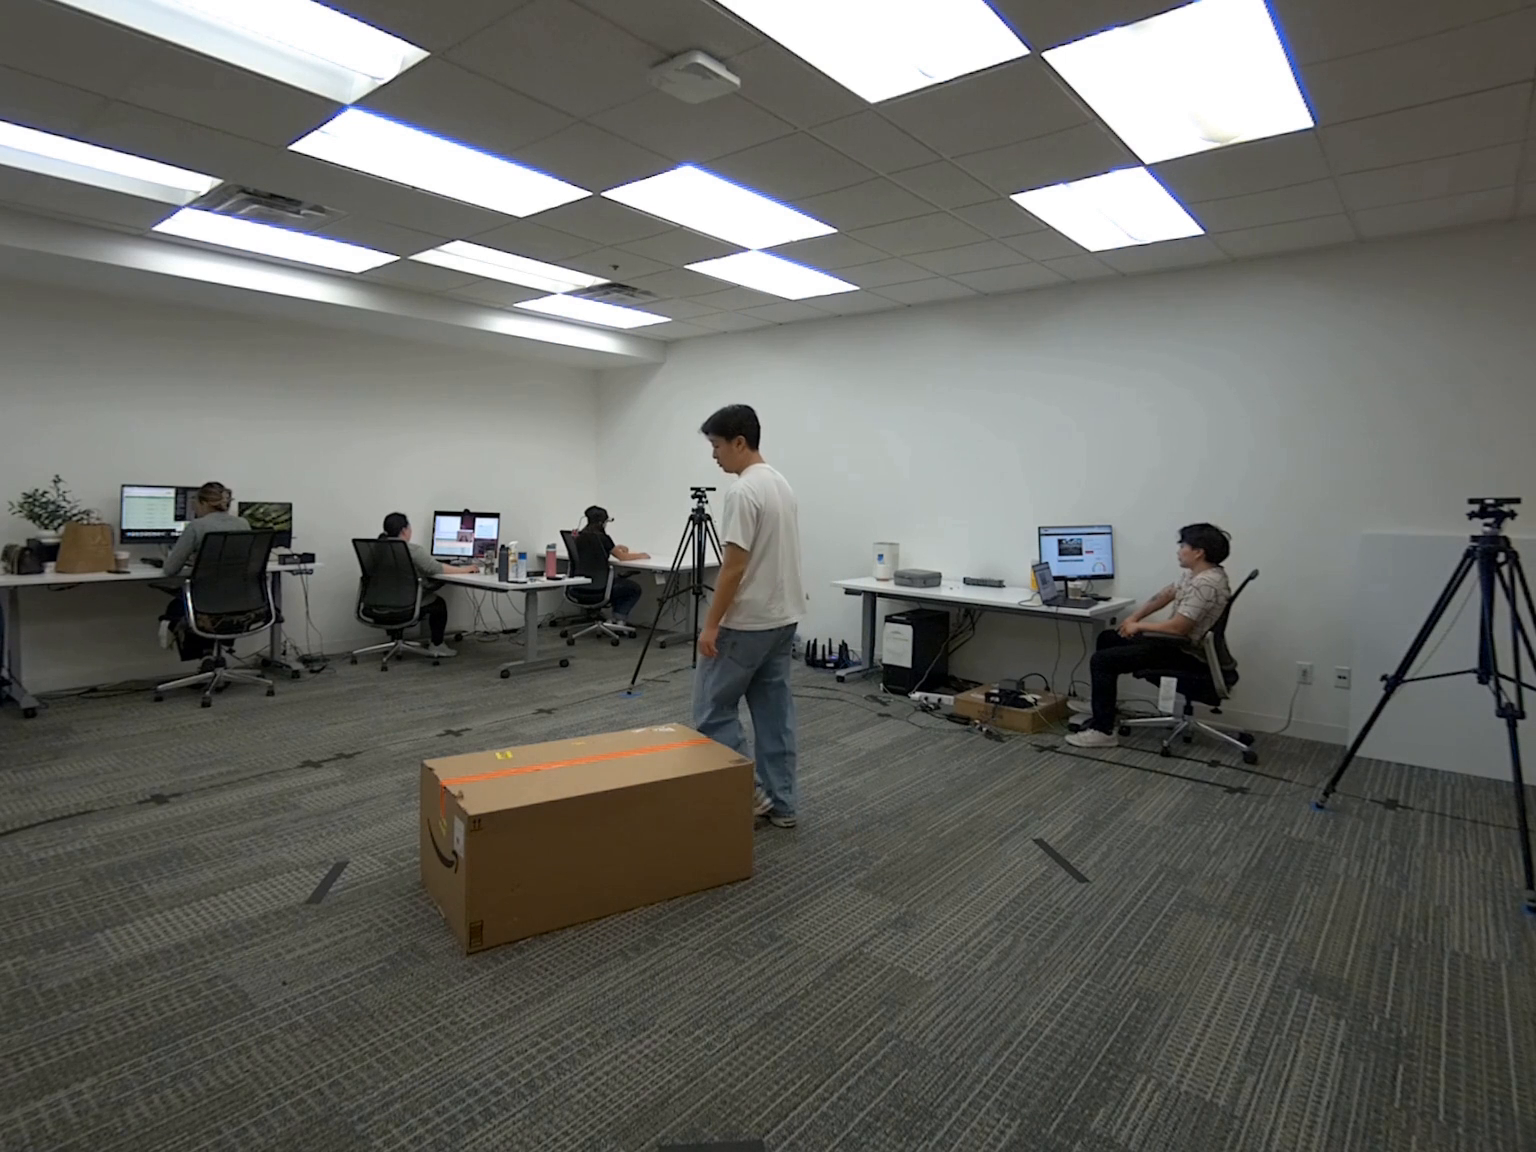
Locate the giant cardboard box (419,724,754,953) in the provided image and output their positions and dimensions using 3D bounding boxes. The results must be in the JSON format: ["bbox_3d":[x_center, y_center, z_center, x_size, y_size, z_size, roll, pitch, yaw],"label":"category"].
[{"bbox_3d":[-0.643,0.855,2.993,0.997,0.425,0.596,-2,5,-33],"label":"giant cardboard box"}]
